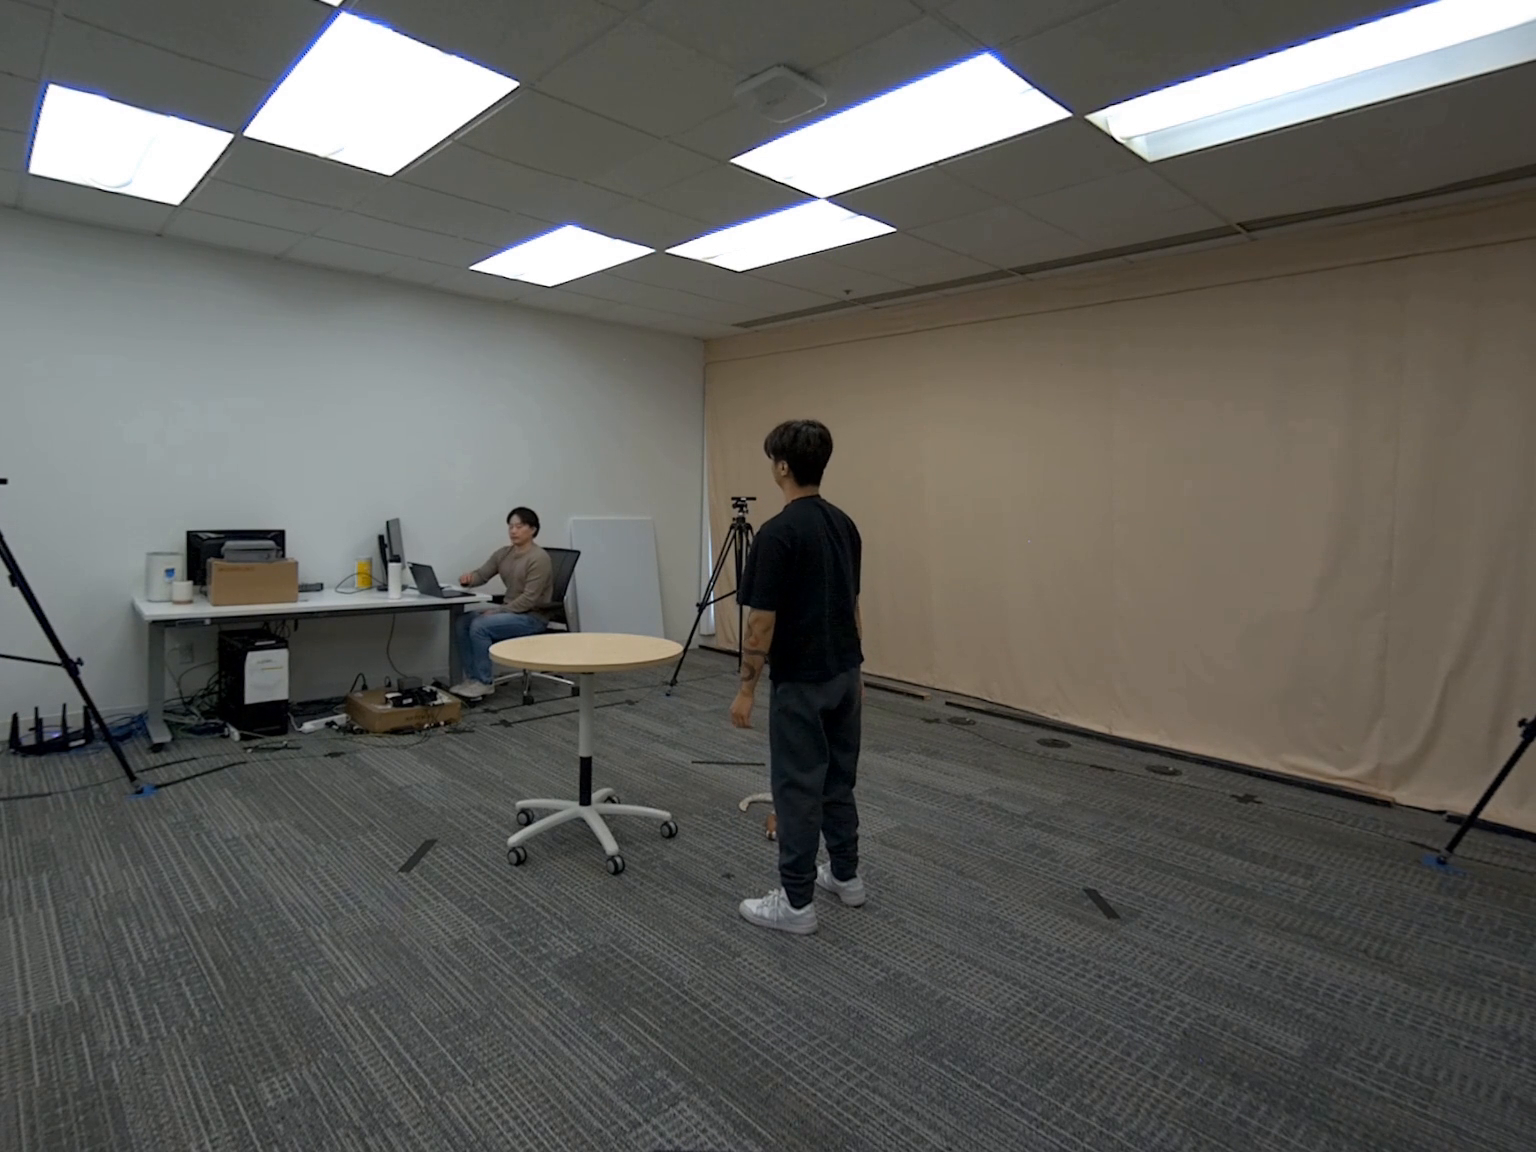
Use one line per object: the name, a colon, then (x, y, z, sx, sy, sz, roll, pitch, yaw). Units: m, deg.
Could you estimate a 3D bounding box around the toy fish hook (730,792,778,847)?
toy fish hook: (-0.027, 1.048, 3.683, 0.225, 0.048, 0.505, -6, 3, 4)
